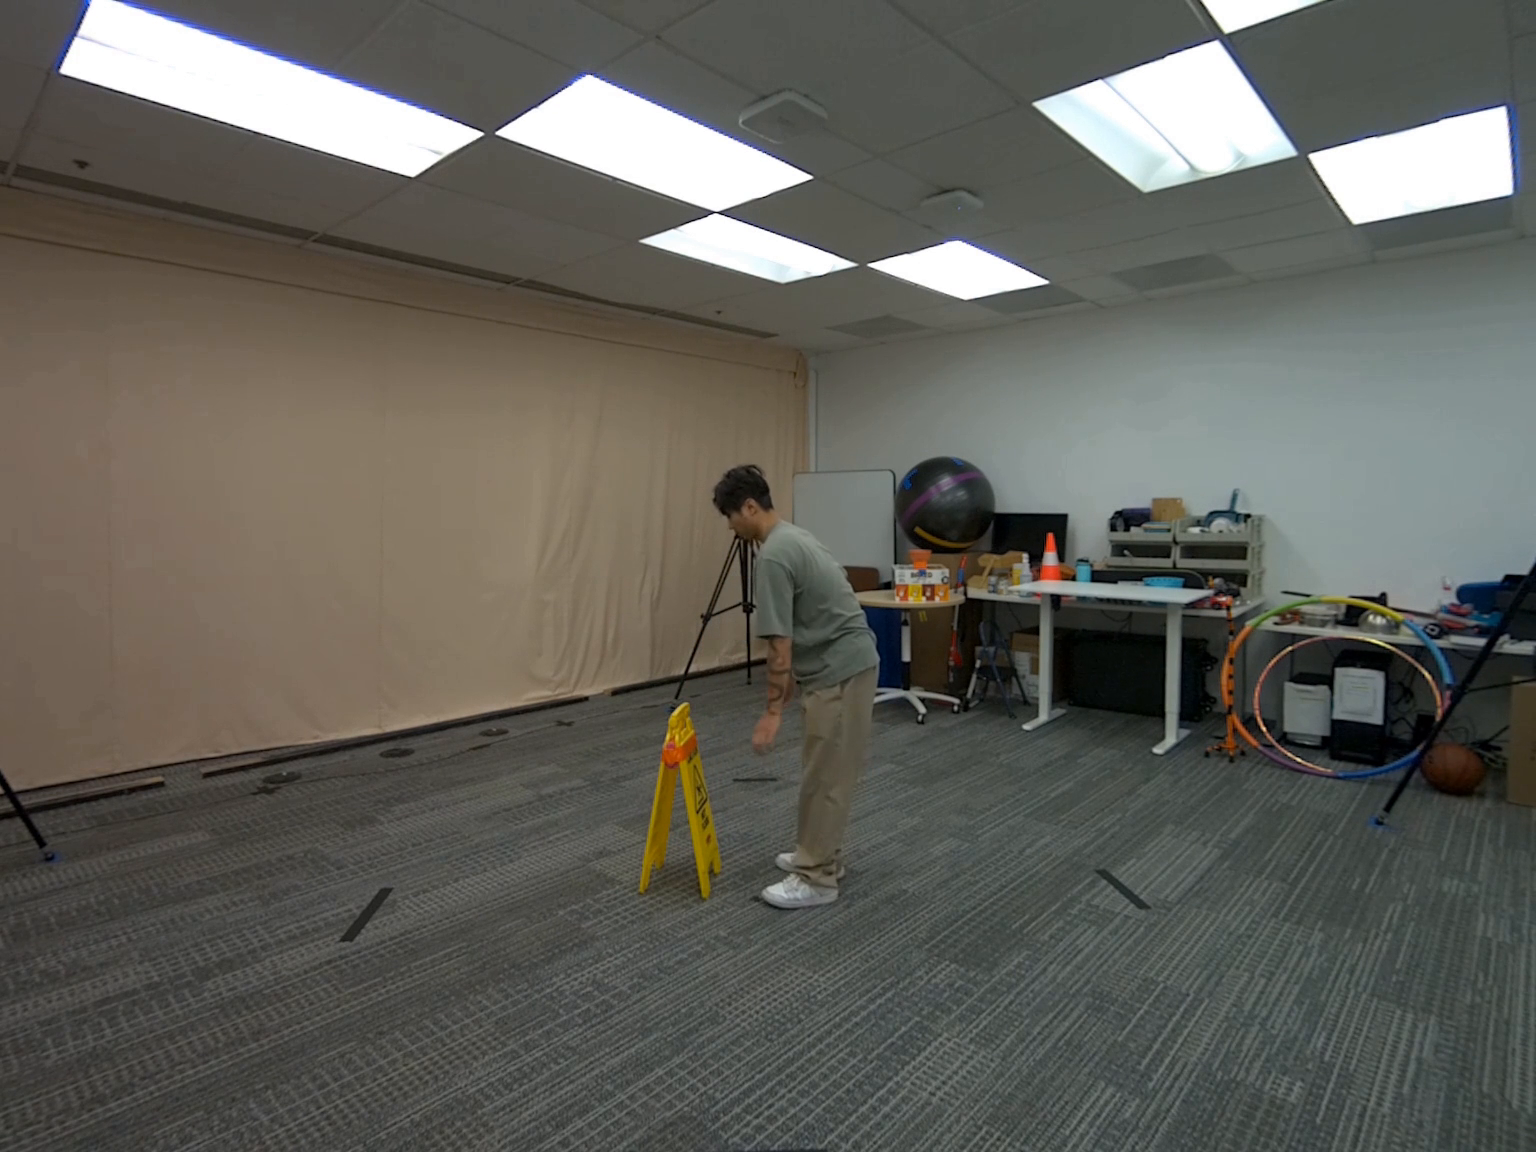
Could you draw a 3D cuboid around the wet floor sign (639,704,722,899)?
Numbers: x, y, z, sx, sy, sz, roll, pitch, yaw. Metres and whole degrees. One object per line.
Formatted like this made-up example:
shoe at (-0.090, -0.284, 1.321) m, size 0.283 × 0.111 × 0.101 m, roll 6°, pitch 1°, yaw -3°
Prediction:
wet floor sign at (-0.325, 0.817, 3.119) m, size 0.293 × 0.645 × 0.279 m, roll -1°, pitch 2°, yaw 10°
